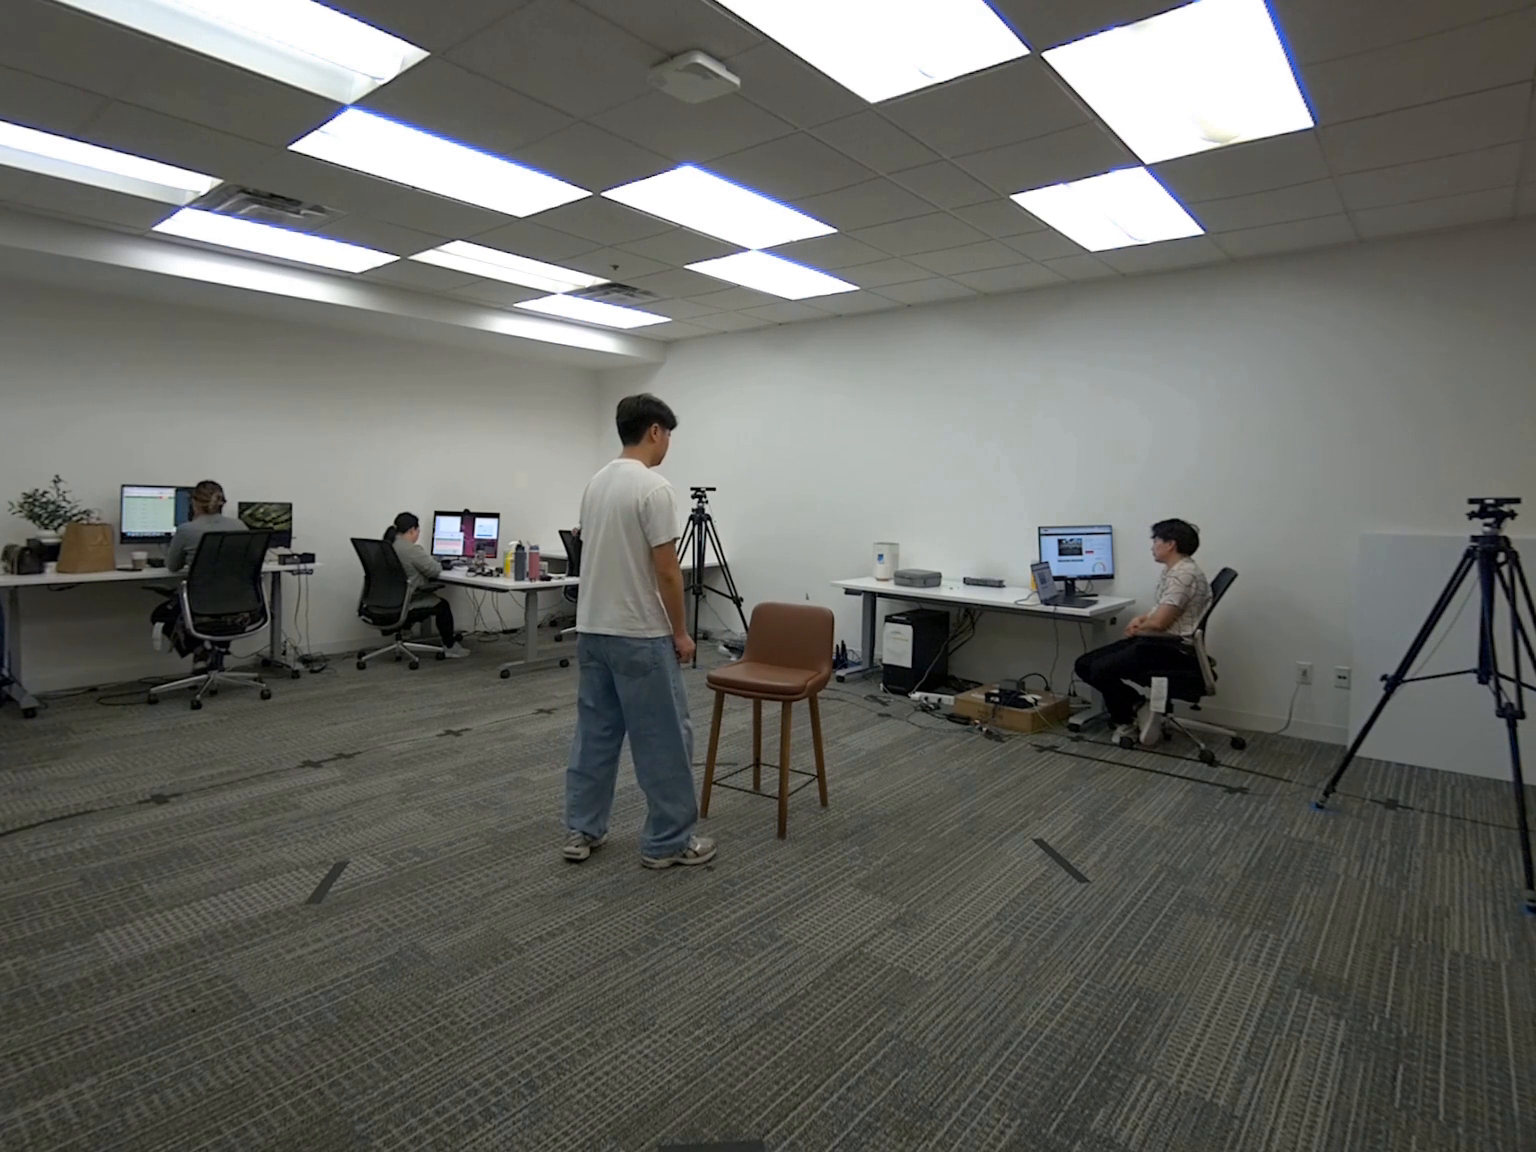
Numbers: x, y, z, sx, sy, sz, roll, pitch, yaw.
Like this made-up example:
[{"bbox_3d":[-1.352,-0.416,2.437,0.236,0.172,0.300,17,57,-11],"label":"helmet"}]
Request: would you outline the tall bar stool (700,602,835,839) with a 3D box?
[{"bbox_3d":[-0.004,0.578,3.661,0.470,0.889,0.454,4,2,31],"label":"tall bar stool"}]
